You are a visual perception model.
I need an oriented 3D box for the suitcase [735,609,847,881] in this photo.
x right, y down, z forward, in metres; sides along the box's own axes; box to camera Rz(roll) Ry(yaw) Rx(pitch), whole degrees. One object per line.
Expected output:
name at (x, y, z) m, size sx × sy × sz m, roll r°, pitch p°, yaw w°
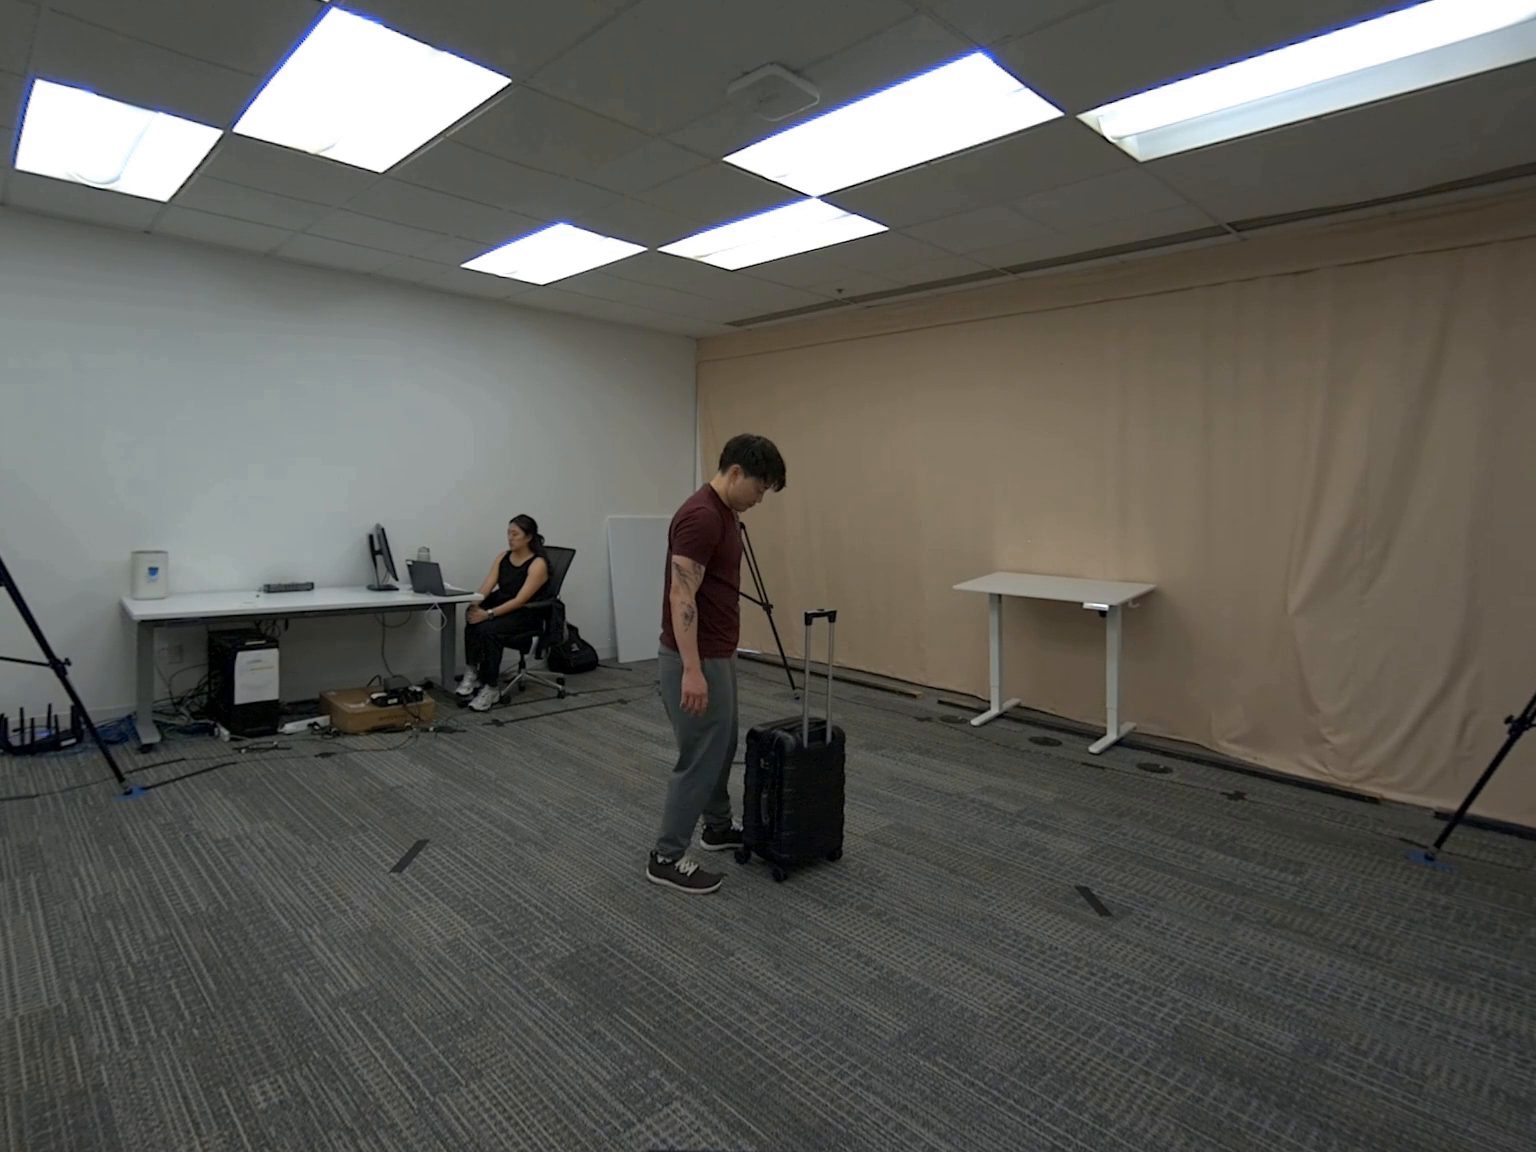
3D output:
suitcase at (0.099, 0.618, 3.213) m, size 0.375 × 0.977 × 0.263 m, roll 1°, pitch 2°, yaw -39°
